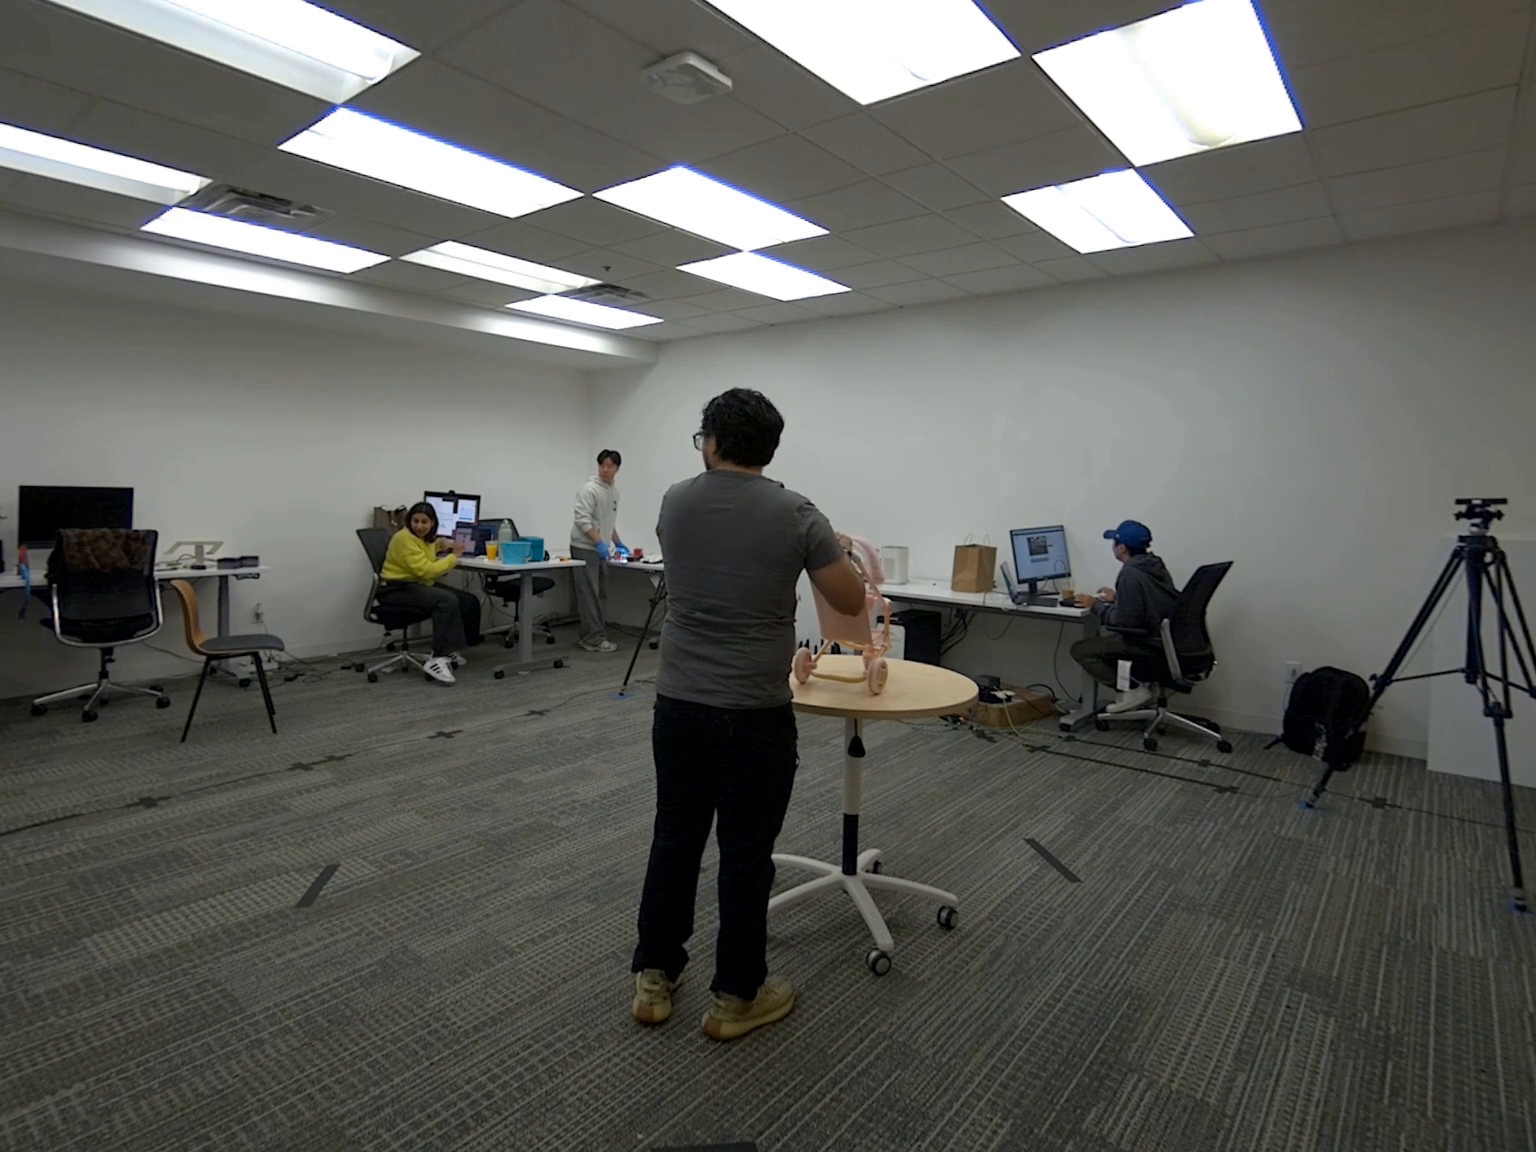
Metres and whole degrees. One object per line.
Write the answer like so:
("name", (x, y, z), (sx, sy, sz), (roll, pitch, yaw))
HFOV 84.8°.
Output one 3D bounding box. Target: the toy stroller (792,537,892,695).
("toy stroller", (0.255, 0.113, 2.679), (0.290, 0.527, 0.336), (4, 18, 33))
